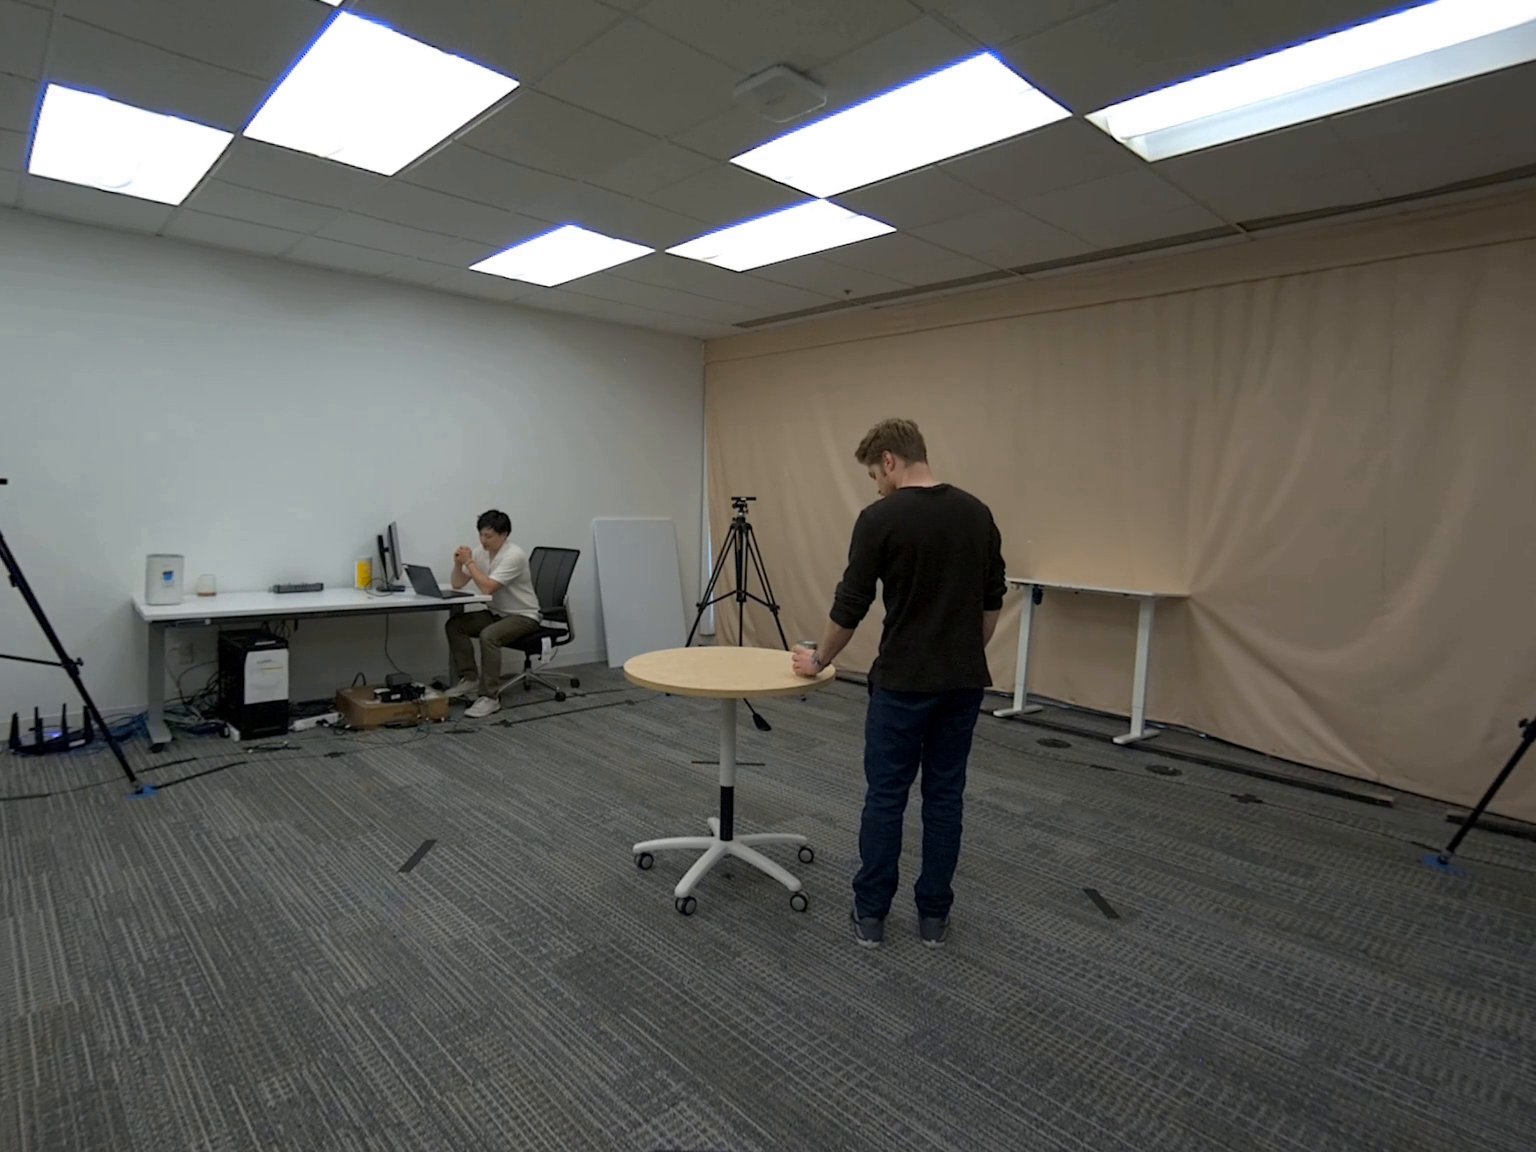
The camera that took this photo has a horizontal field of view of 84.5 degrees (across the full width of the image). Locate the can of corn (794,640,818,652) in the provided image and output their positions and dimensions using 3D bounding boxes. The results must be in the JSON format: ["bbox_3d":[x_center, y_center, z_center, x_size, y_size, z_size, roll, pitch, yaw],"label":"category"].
[{"bbox_3d":[0.118,0.291,2.919,0.074,0.111,0.074,2,4,-2],"label":"can of corn"}]
